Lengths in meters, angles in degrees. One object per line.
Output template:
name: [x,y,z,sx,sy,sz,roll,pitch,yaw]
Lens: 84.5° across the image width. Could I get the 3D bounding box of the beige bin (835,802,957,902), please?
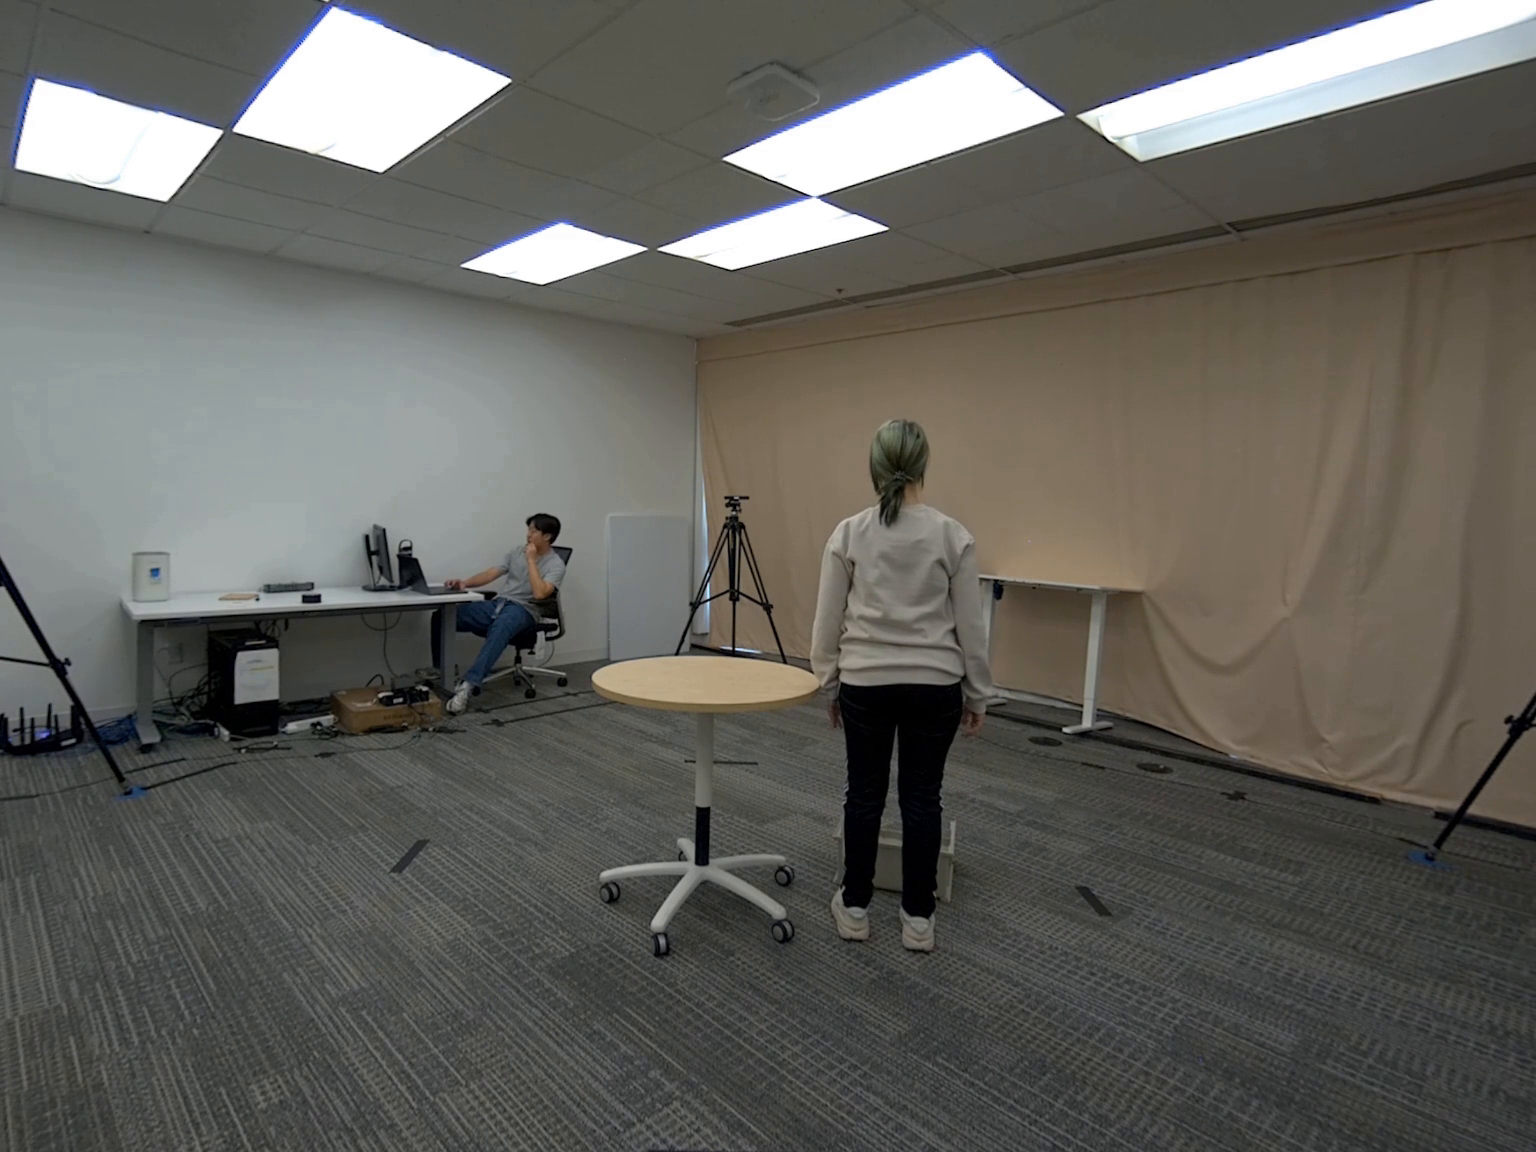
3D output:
beige bin: [0.478,1.027,3.160,0.428,0.188,0.374,4,6,15]
